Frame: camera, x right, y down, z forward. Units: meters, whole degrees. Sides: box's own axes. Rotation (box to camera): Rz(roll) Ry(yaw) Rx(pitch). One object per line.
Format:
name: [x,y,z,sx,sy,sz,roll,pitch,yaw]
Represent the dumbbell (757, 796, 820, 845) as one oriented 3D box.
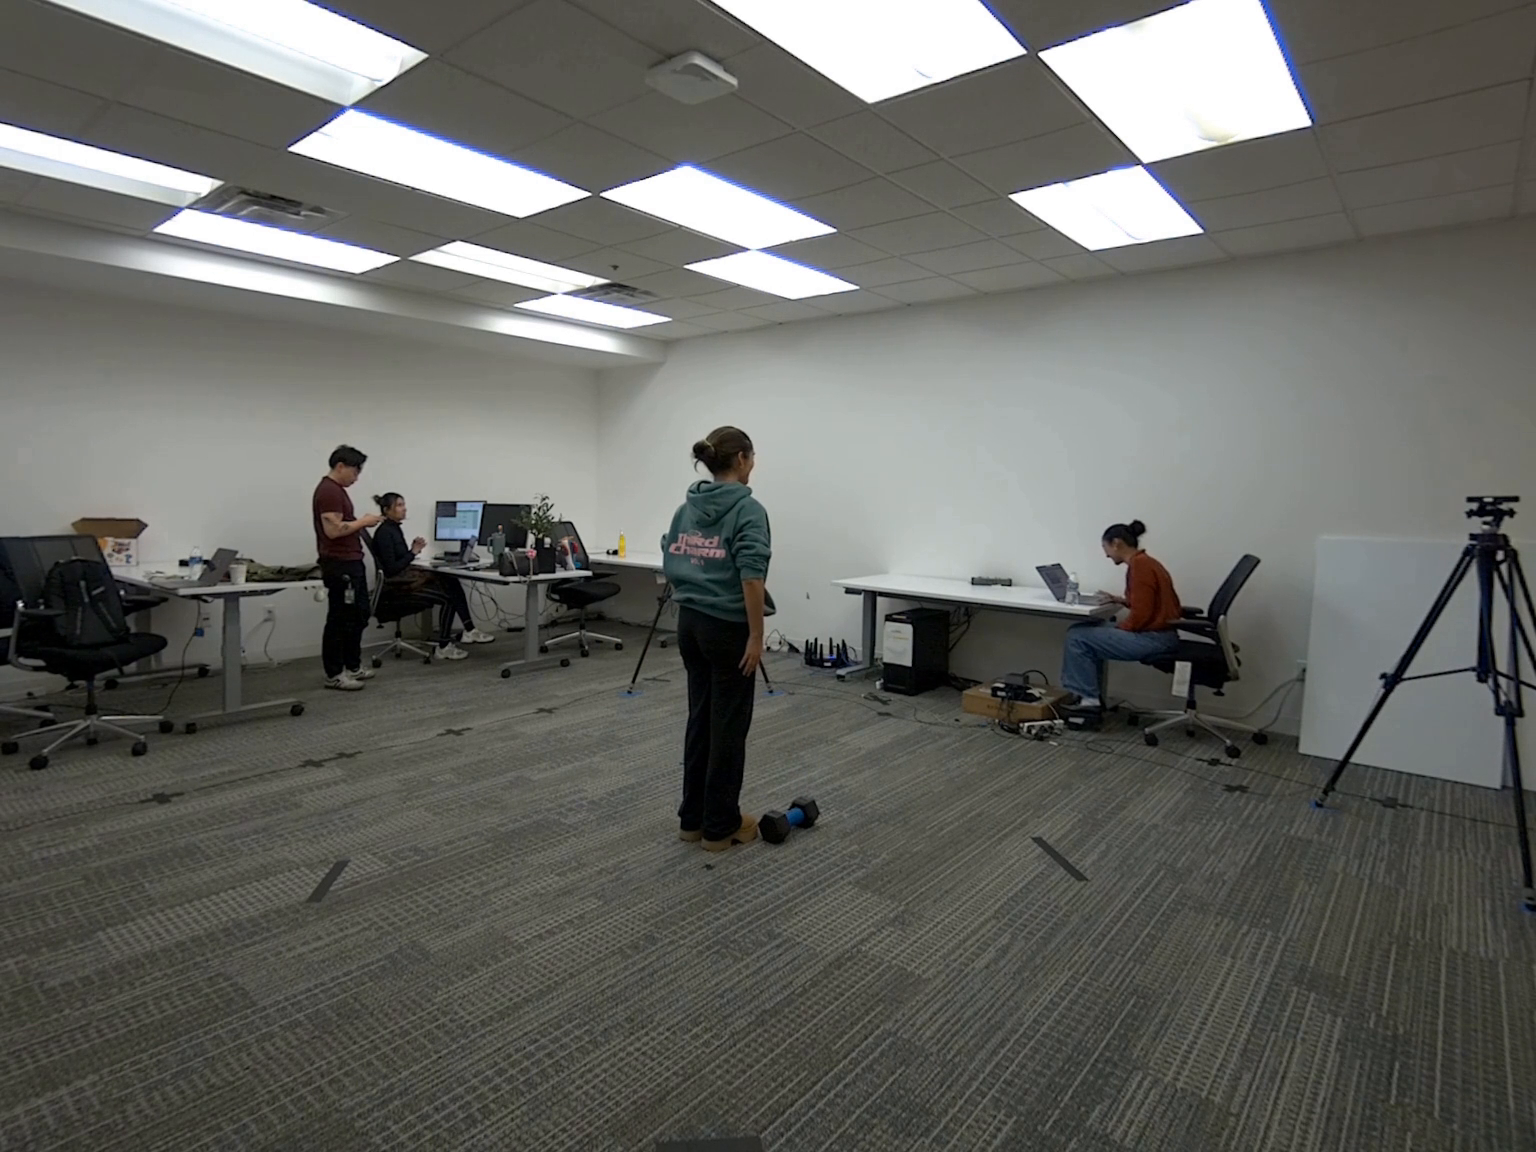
dumbbell: [0.079,0.987,3.447,0.113,0.122,0.285,40,25,28]
